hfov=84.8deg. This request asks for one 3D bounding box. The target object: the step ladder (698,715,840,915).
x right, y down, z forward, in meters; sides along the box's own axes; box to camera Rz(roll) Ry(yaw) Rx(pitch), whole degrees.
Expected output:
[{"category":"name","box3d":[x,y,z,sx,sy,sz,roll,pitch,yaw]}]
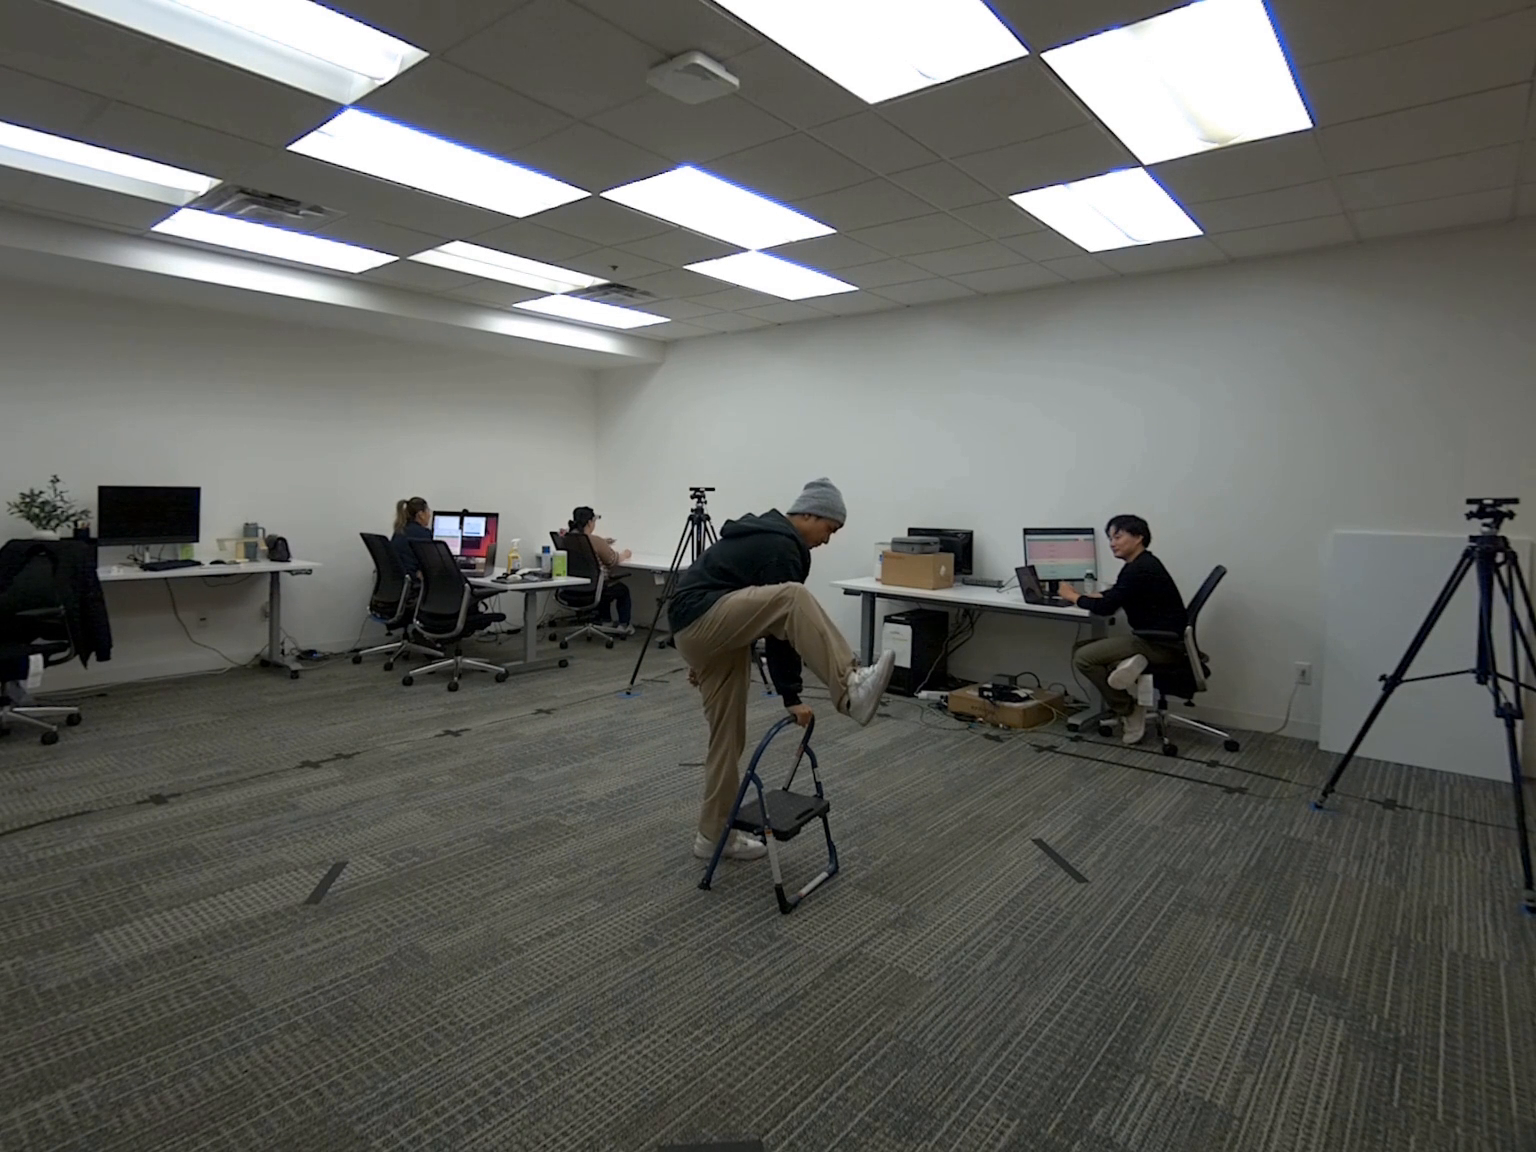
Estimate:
[{"category":"step ladder","box3d":[0.013,0.775,3.021,0.360,0.604,0.419,3,4,31]}]
